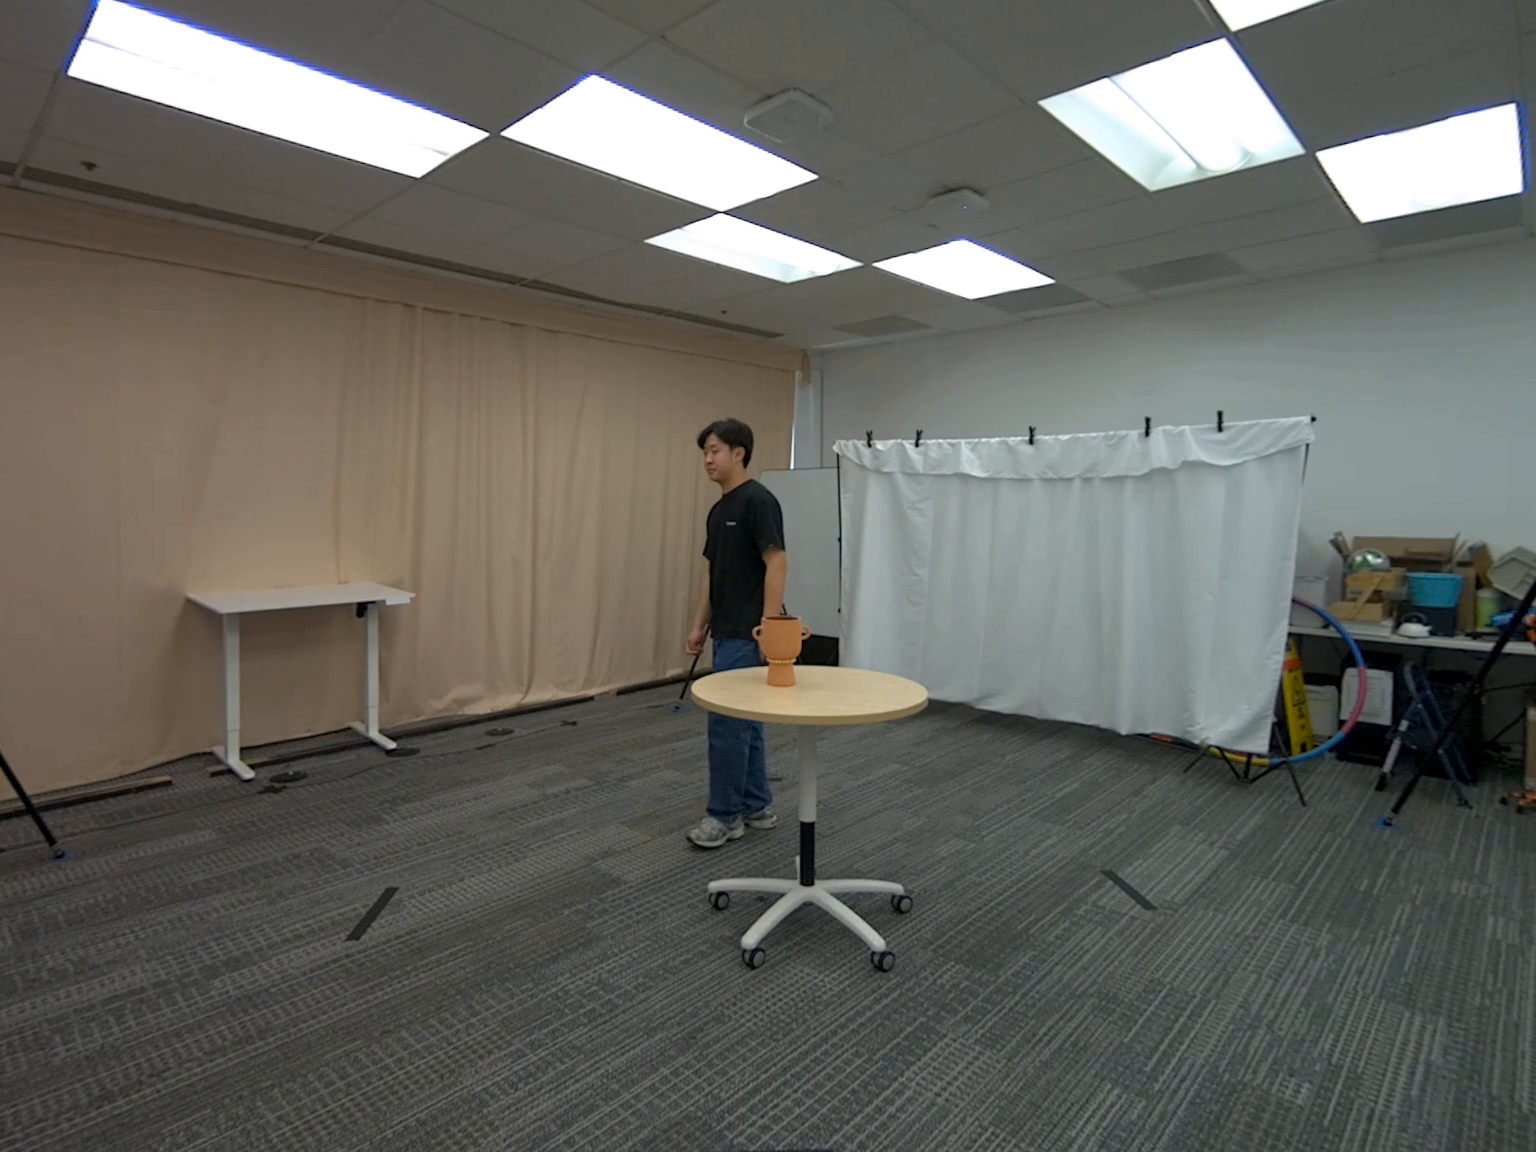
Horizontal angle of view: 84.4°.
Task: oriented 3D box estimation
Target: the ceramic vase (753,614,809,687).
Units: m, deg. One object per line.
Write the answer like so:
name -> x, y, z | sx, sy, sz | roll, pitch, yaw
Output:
ceramic vase -> 0.050, 0.251, 2.816 | 0.163, 0.219, 0.131 | 2, 3, 28
